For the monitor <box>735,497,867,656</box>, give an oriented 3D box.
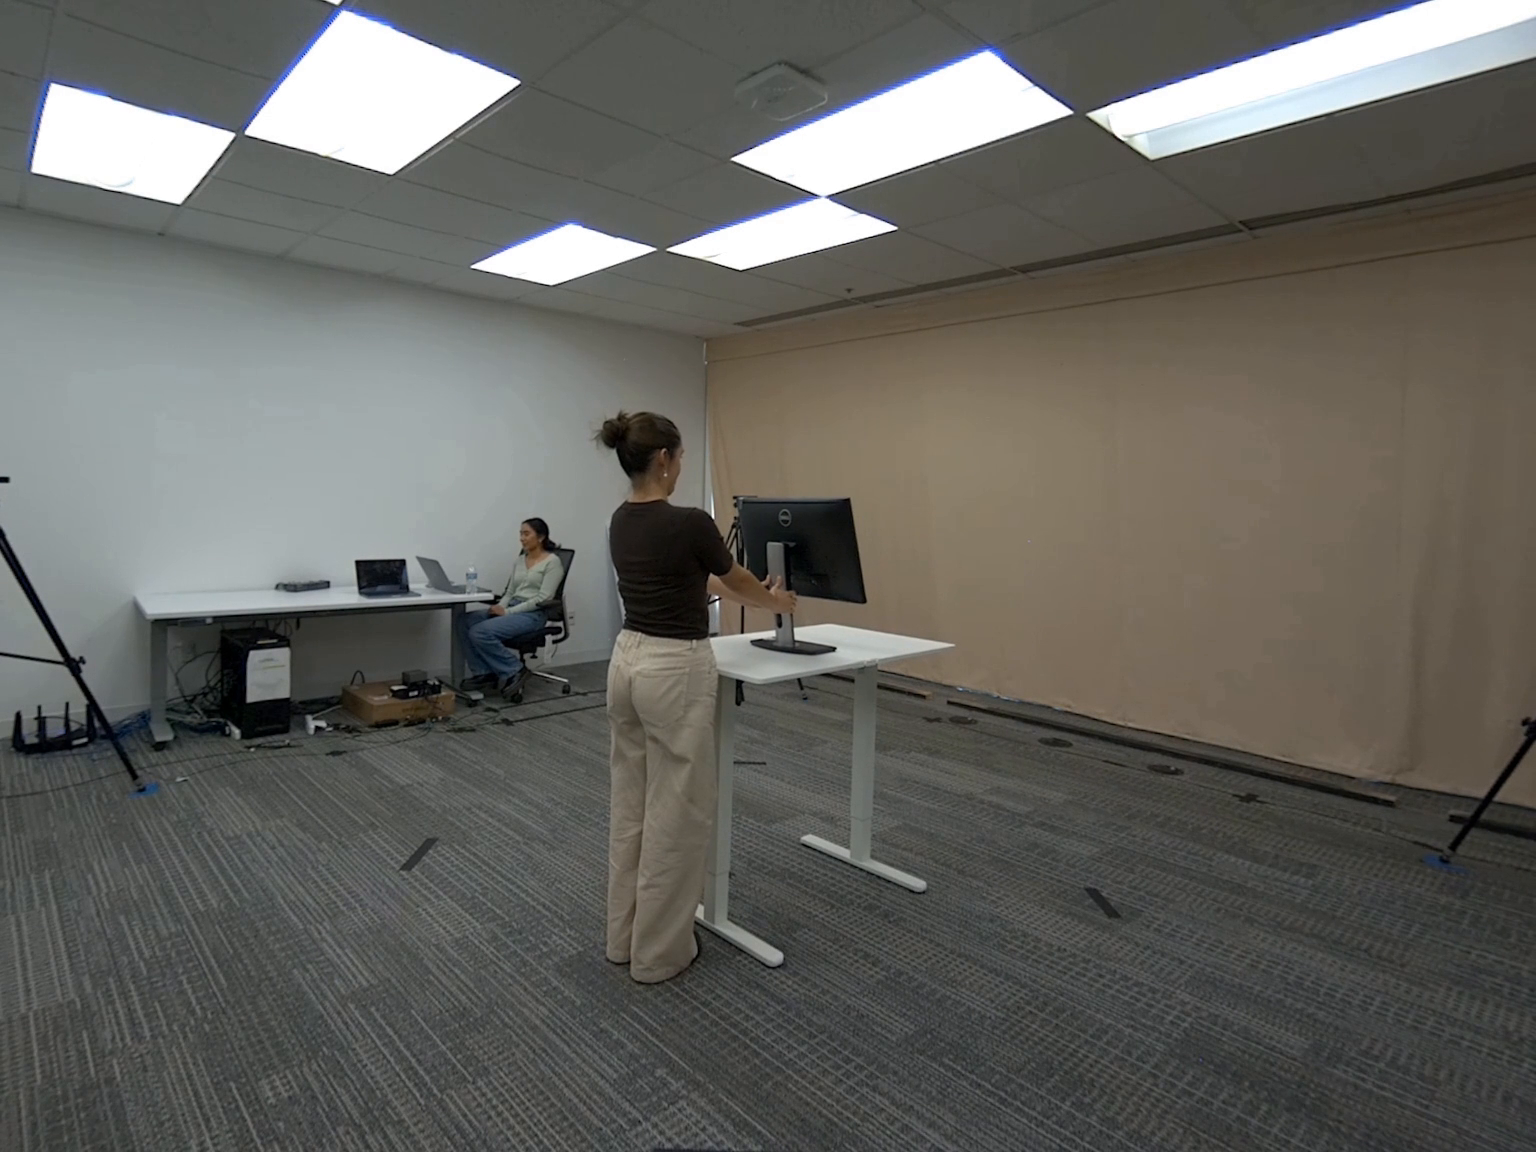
[{"bbox_3d":[0.074,-0.004,2.852,0.183,0.521,0.553,-4,6,-44],"label":"monitor"}]
